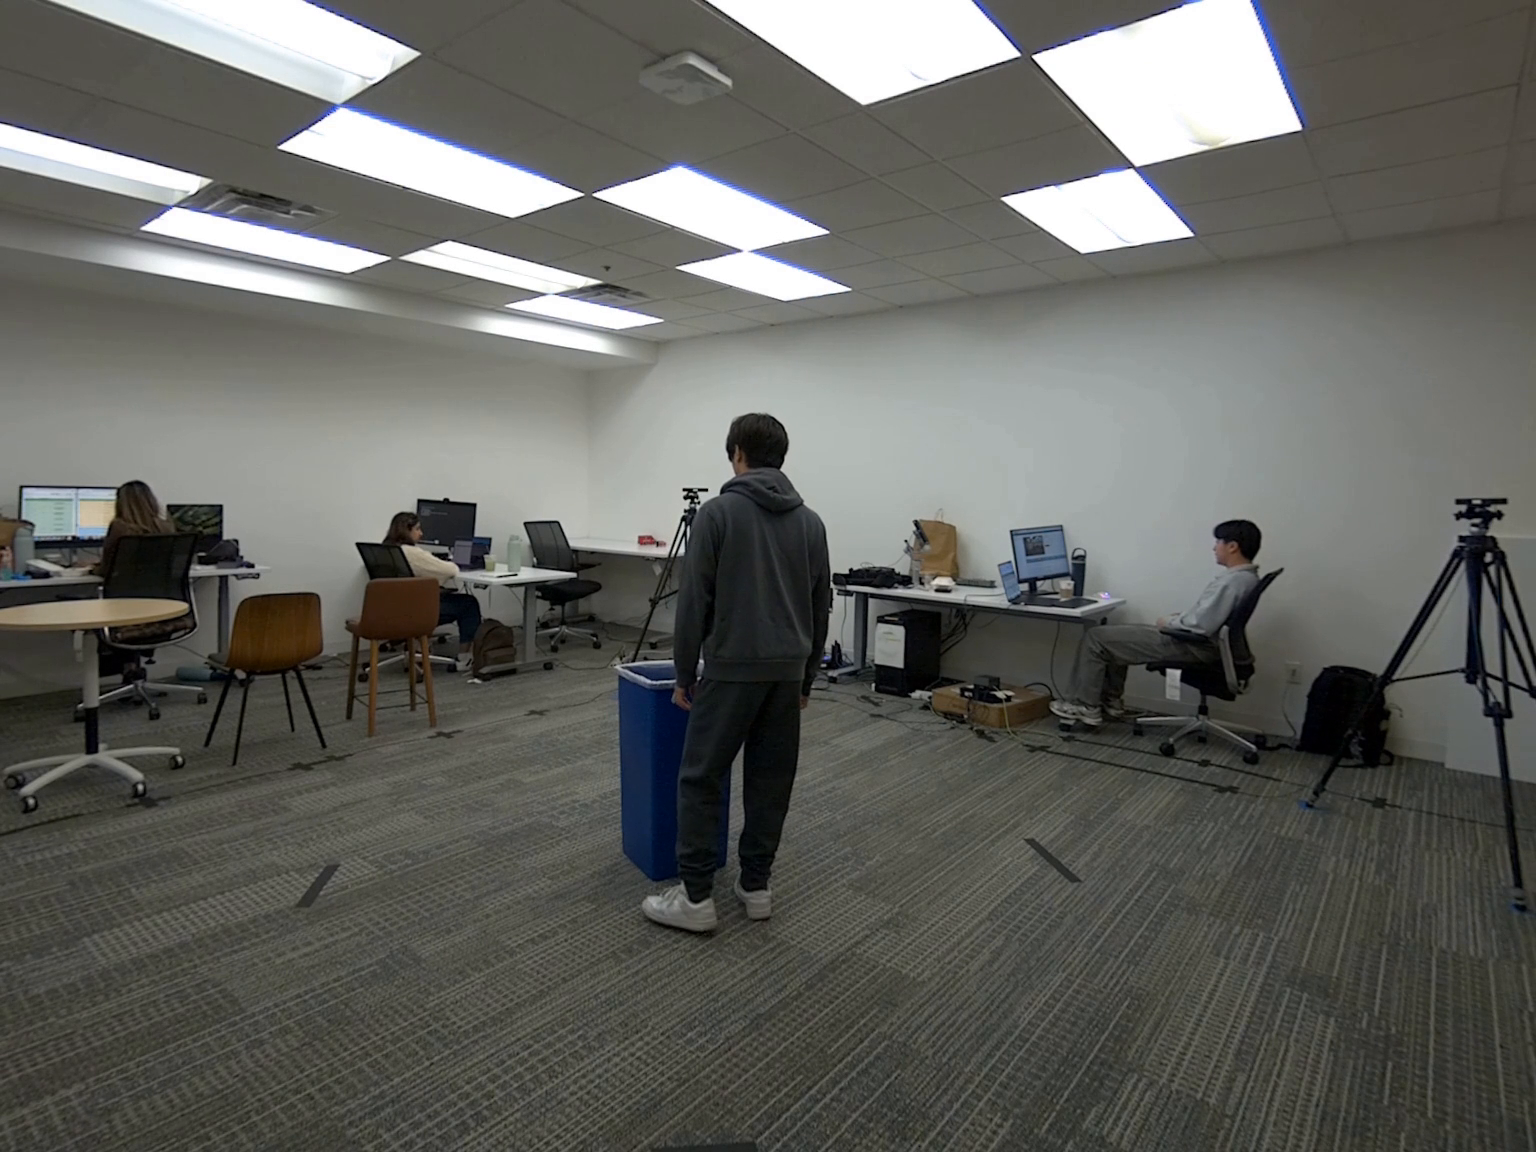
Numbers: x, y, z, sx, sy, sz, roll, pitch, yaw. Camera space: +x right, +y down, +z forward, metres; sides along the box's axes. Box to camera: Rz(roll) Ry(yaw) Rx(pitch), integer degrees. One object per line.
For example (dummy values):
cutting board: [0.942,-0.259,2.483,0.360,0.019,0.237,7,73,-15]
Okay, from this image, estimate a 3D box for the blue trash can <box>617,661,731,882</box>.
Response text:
blue trash can: [-0.366,0.700,3.186,0.368,0.712,0.385,0,3,-31]
